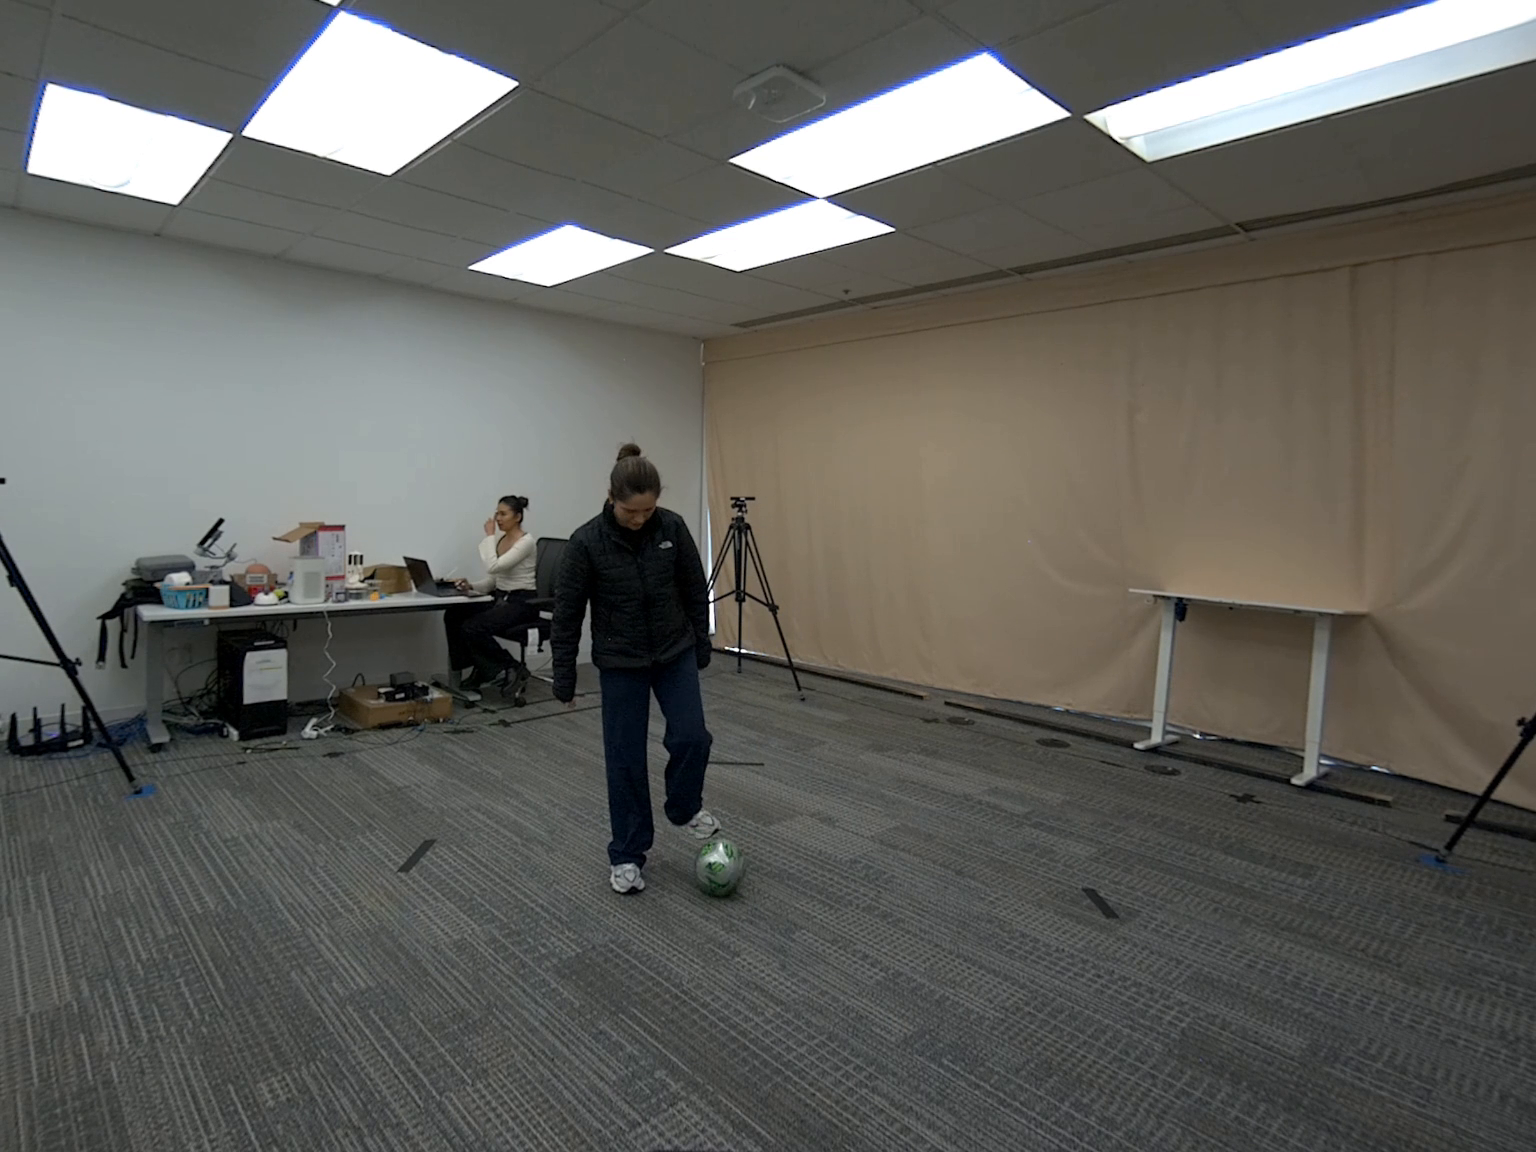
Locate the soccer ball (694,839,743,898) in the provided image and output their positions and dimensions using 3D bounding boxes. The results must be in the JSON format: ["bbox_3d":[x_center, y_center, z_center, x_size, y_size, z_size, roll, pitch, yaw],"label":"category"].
[{"bbox_3d":[-0.173,1.026,2.963,0.187,0.187,0.188,1,4,-1],"label":"soccer ball"}]
